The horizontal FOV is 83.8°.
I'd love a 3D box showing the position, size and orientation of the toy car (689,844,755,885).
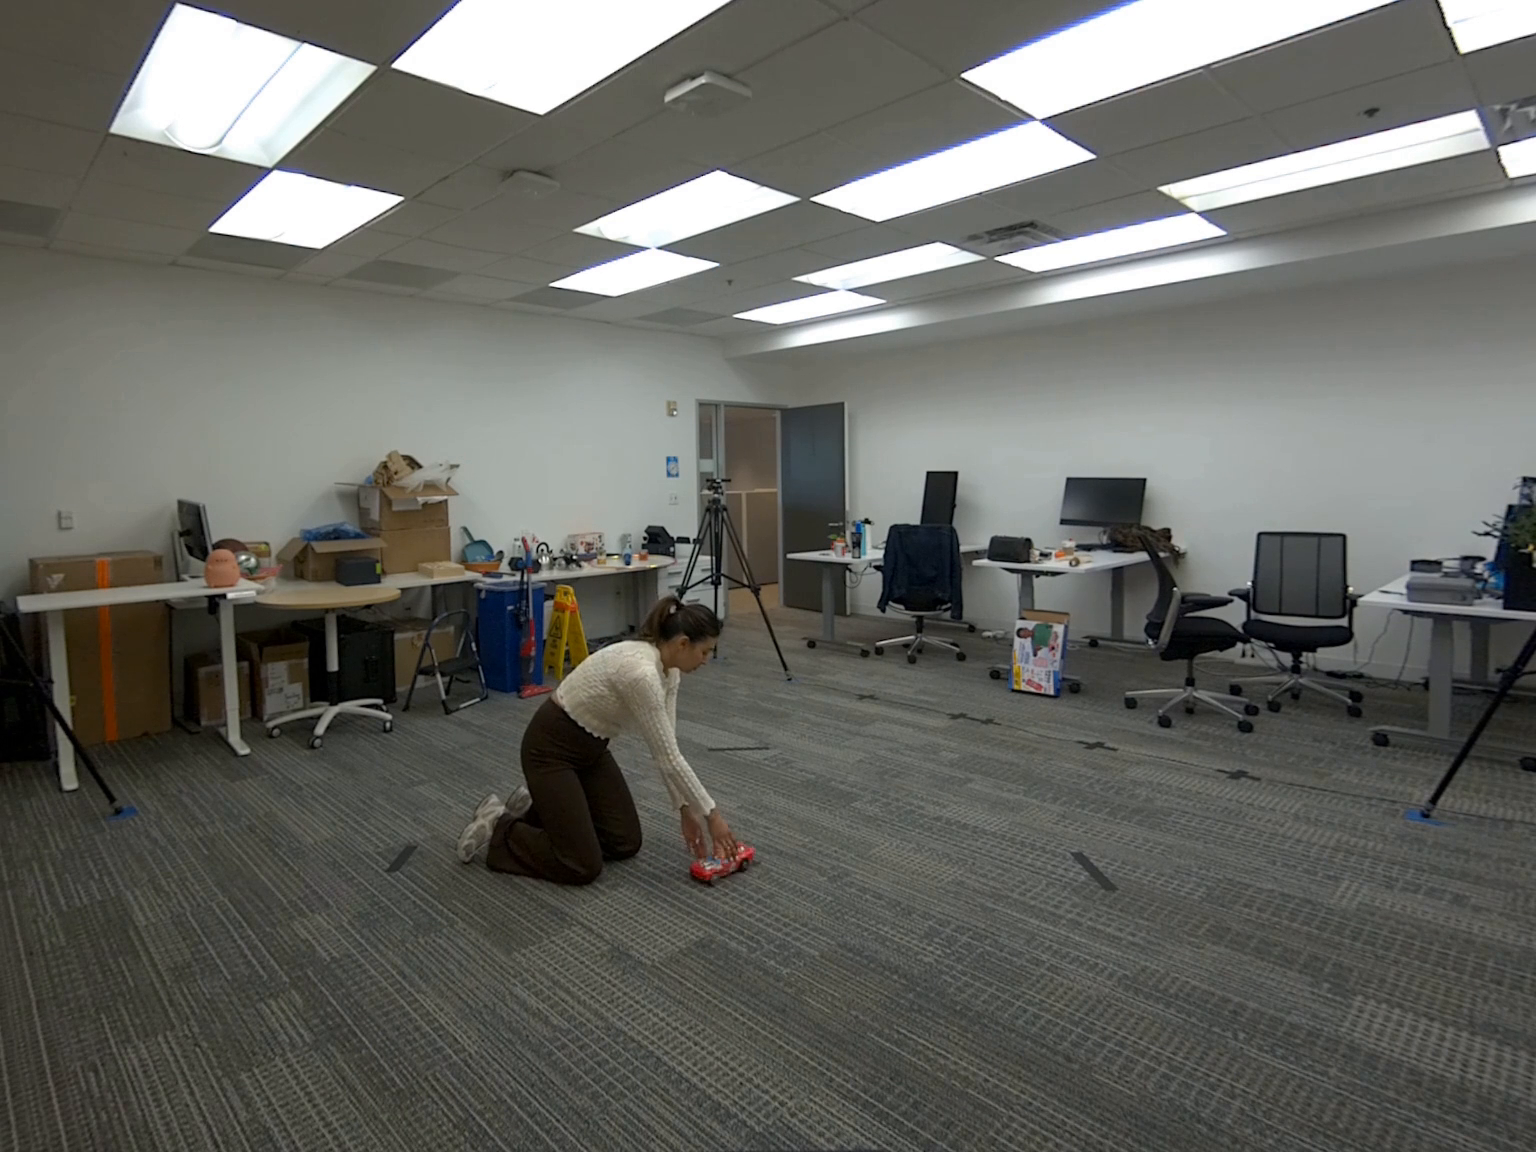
[{"bbox_3d":[-0.159,1.016,3.044,0.250,0.082,0.134,-21,19,-41],"label":"toy car"}]
